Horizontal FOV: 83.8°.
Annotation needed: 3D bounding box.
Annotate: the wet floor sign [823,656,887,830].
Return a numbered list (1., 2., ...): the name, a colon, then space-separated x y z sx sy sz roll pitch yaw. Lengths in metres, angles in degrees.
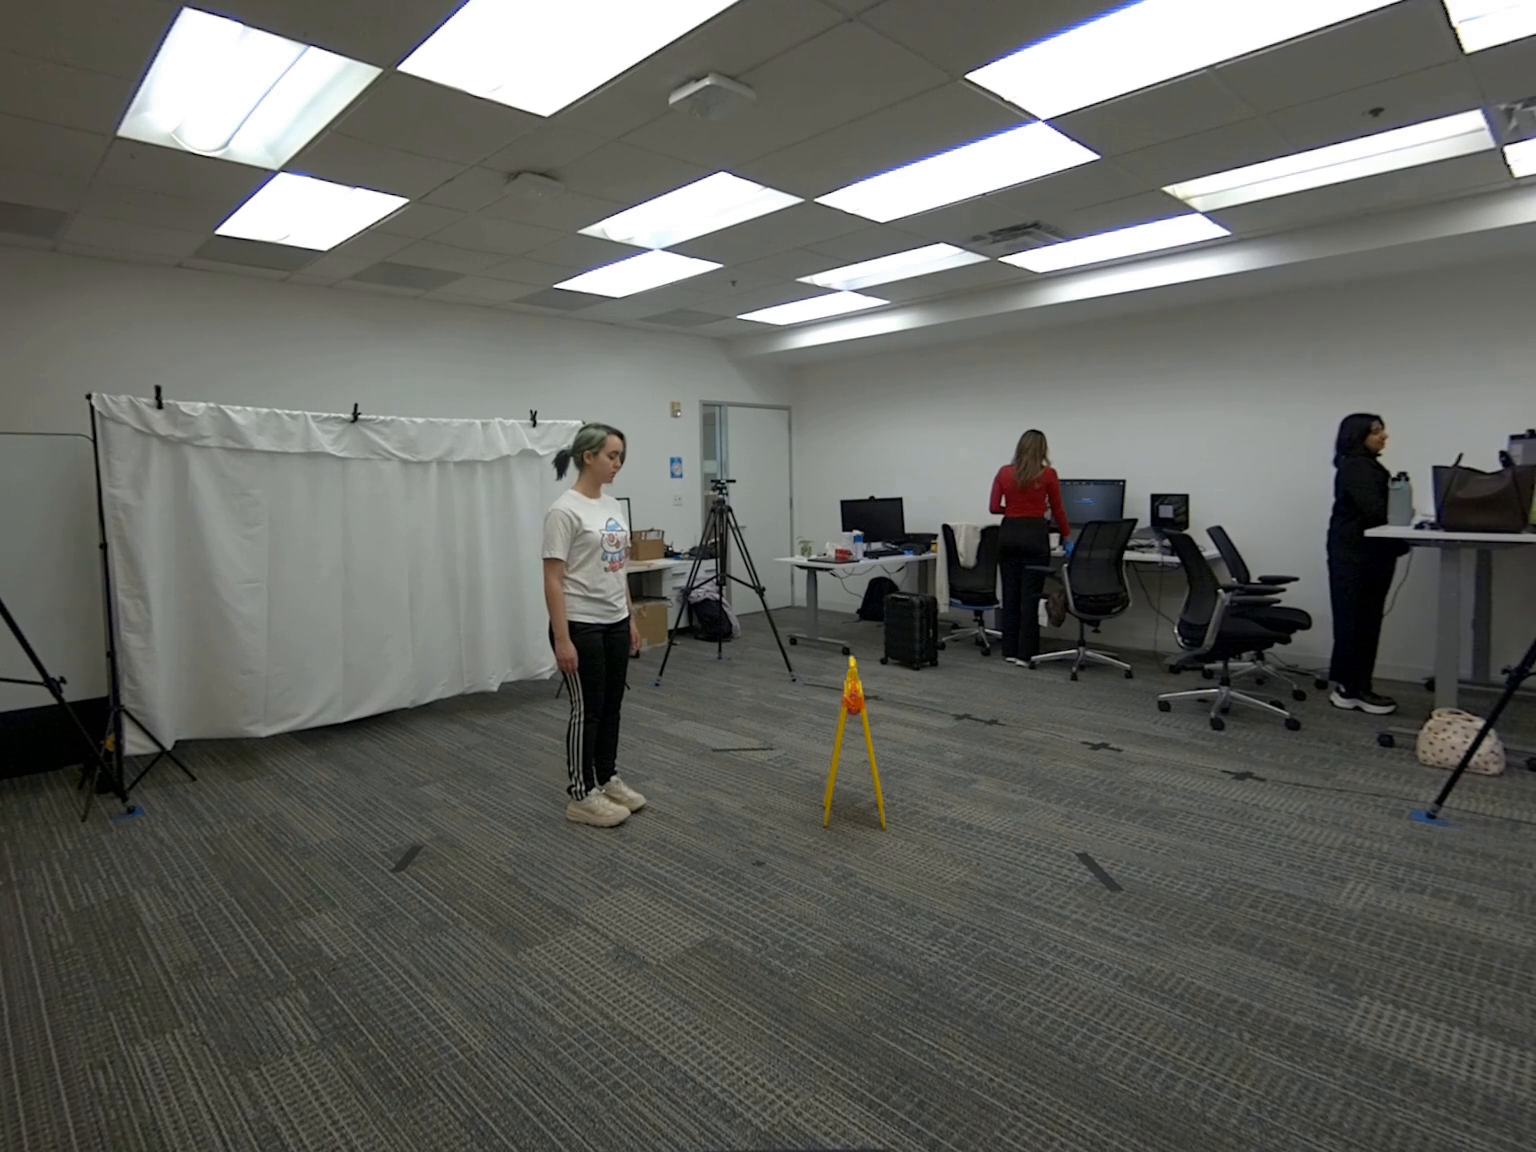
1. wet floor sign: 0.348 0.665 3.536 0.291 0.645 0.281 0 2 5
